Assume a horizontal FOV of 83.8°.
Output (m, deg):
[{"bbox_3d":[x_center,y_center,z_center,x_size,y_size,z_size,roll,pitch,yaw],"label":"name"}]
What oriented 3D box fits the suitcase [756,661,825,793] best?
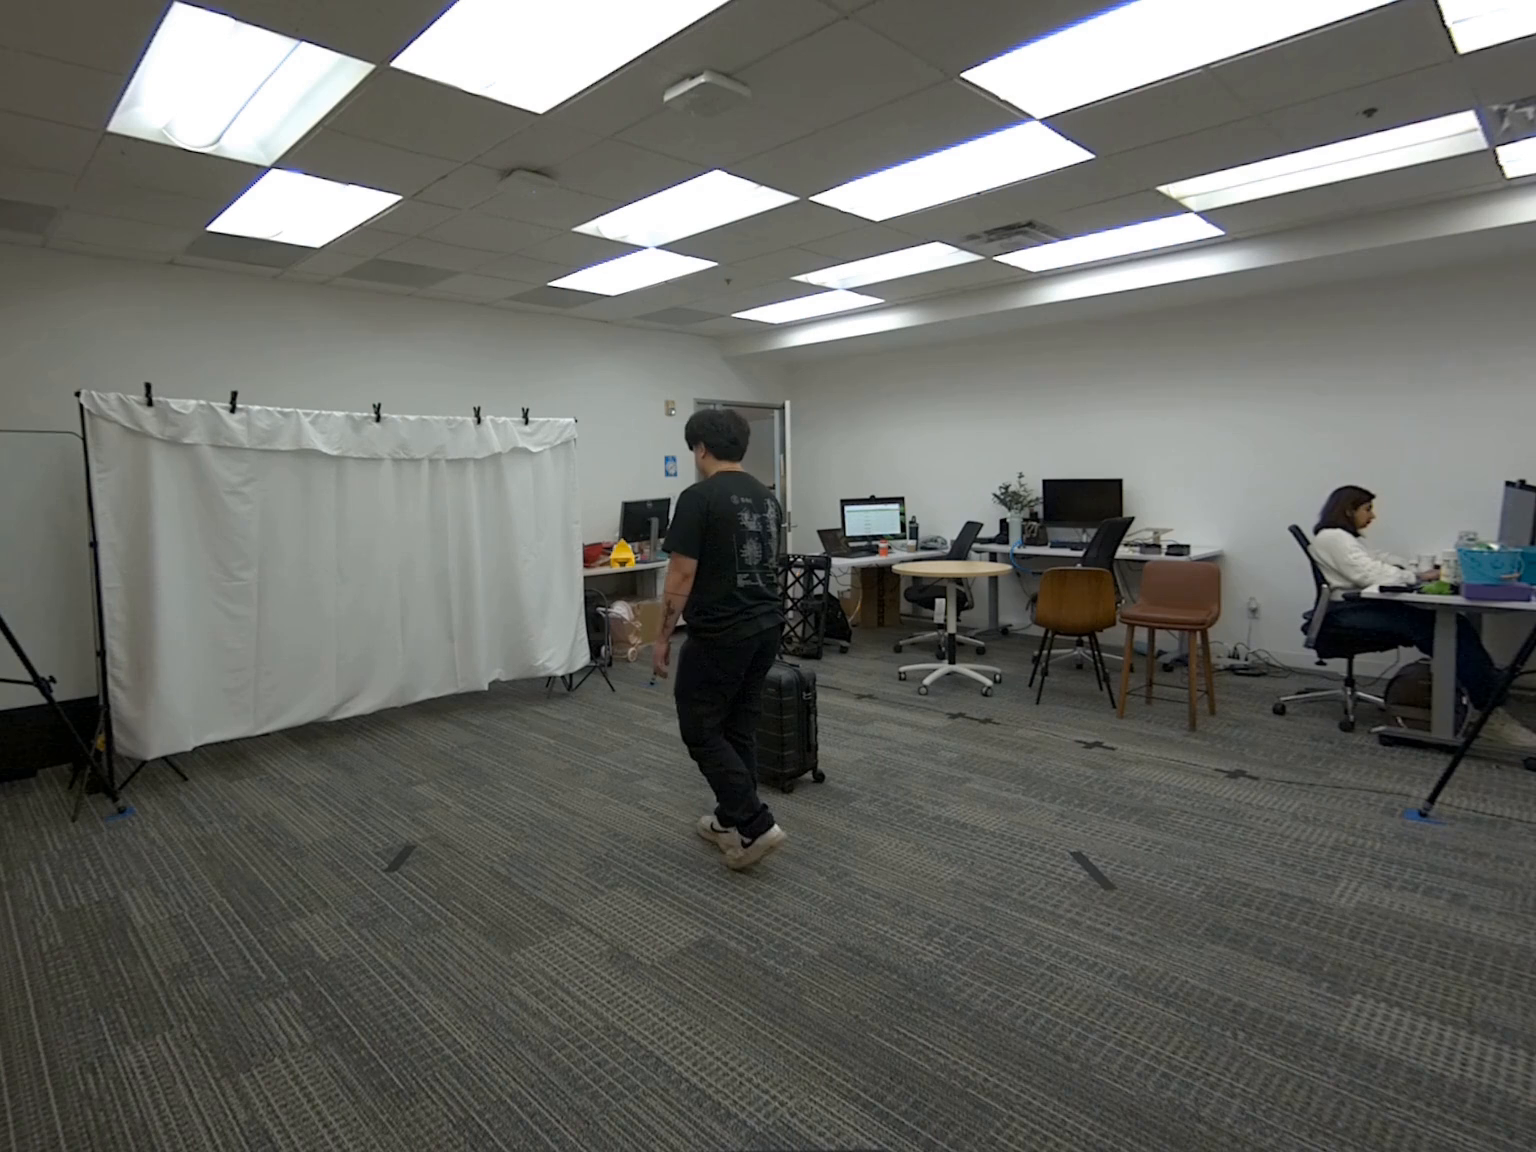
[{"bbox_3d":[0.040,0.671,3.949,0.242,0.547,0.387,-6,7,-42],"label":"suitcase"}]
